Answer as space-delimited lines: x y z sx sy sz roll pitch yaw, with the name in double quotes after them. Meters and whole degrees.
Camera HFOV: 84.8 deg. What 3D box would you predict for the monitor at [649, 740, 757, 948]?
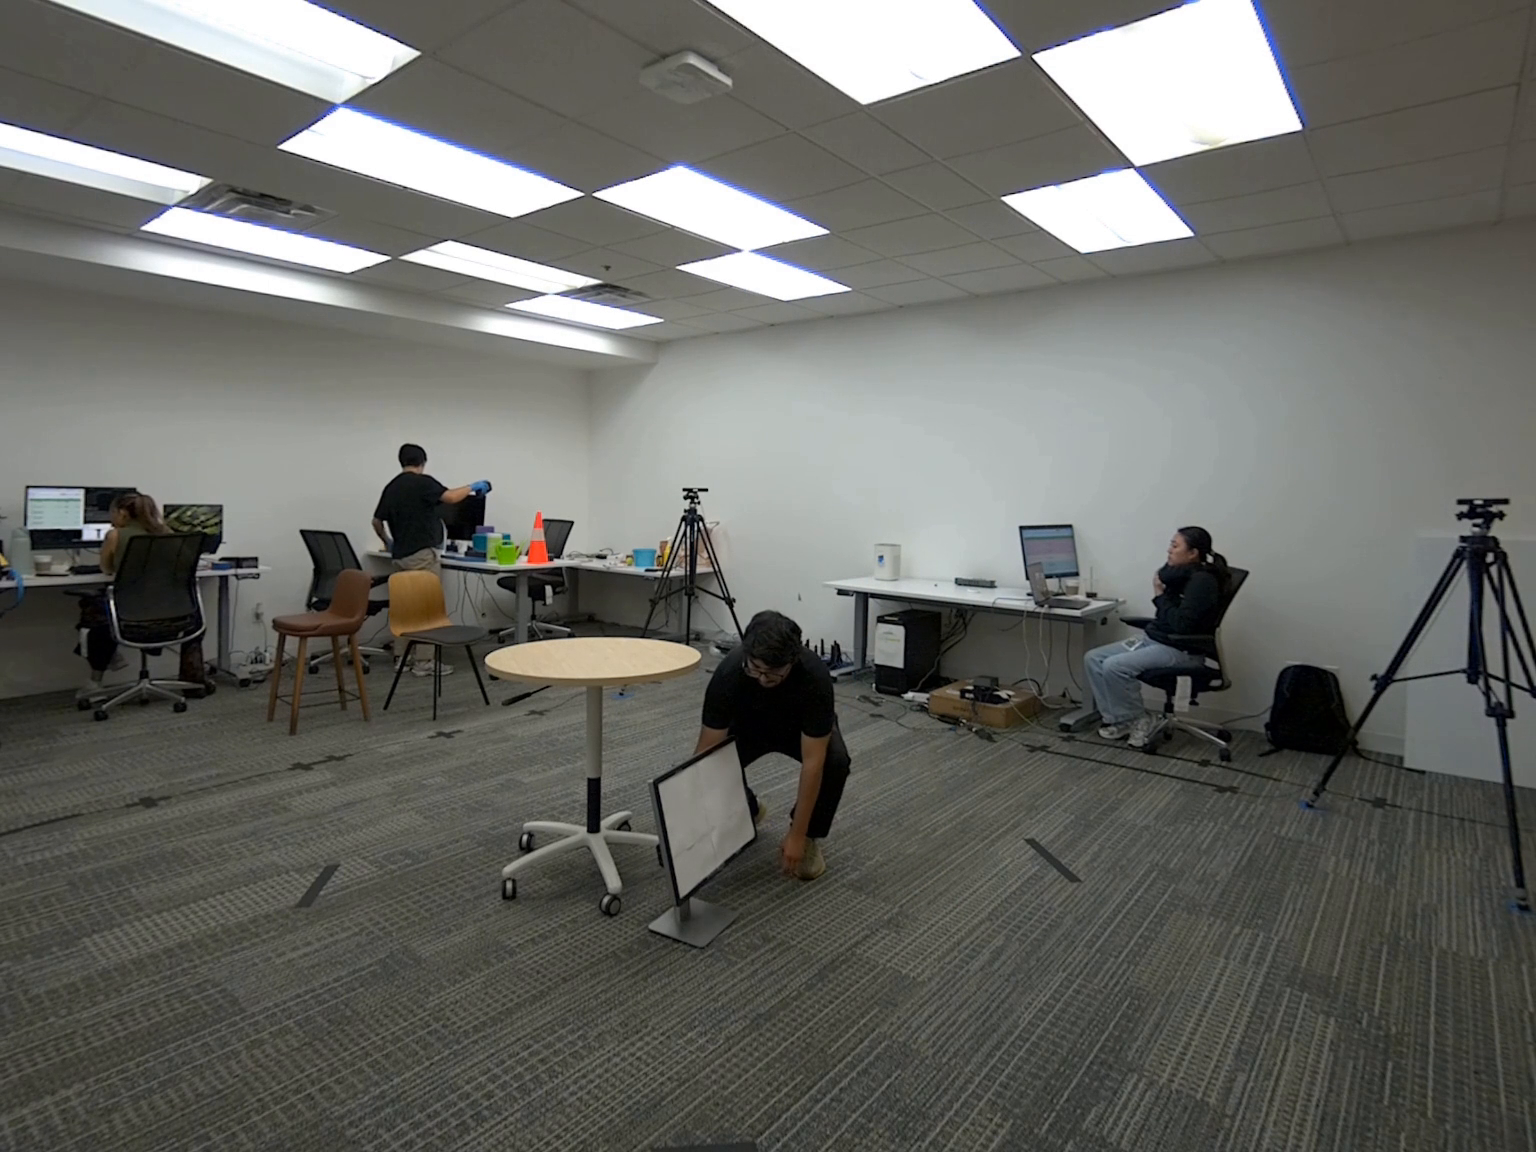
-0.257 0.843 2.709 0.215 0.554 0.553 -4 1 24 "monitor"
